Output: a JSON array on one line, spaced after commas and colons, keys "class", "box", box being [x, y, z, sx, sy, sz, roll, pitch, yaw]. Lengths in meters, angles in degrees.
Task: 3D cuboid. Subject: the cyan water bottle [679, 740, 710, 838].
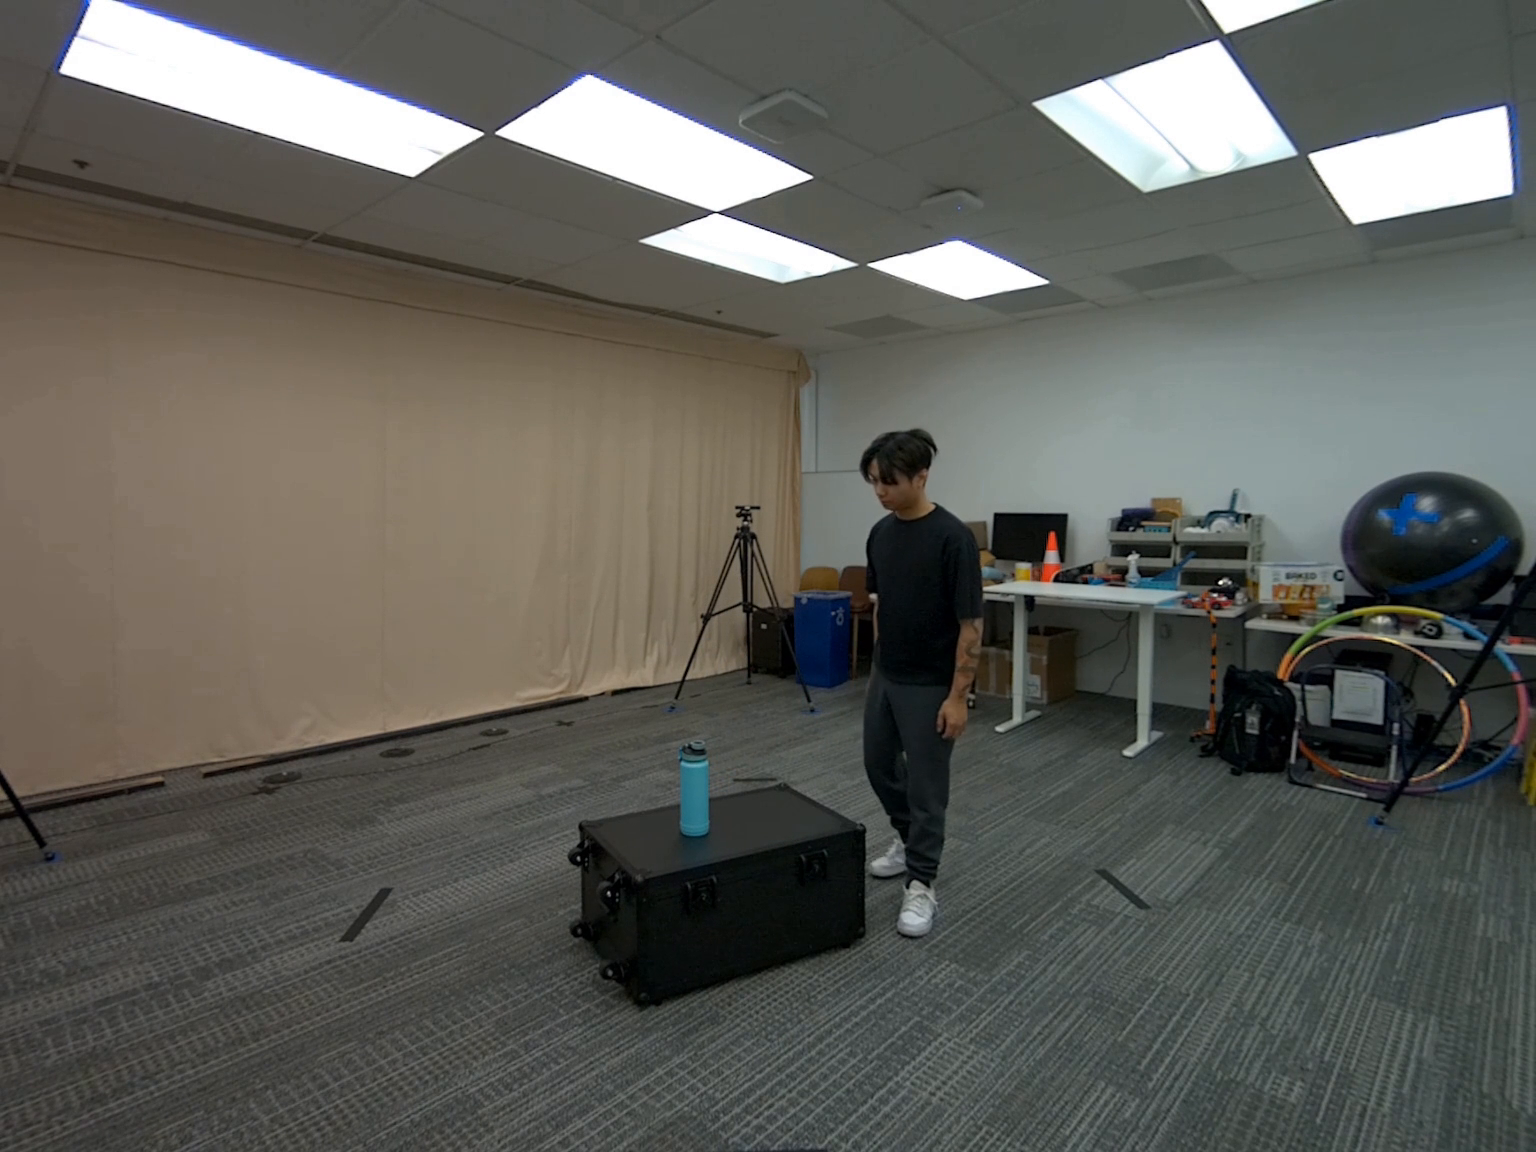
[{"class": "cyan water bottle", "box": [-0.233, 0.666, 2.631, 0.092, 0.283, 0.092, -2, 2, -2]}]
